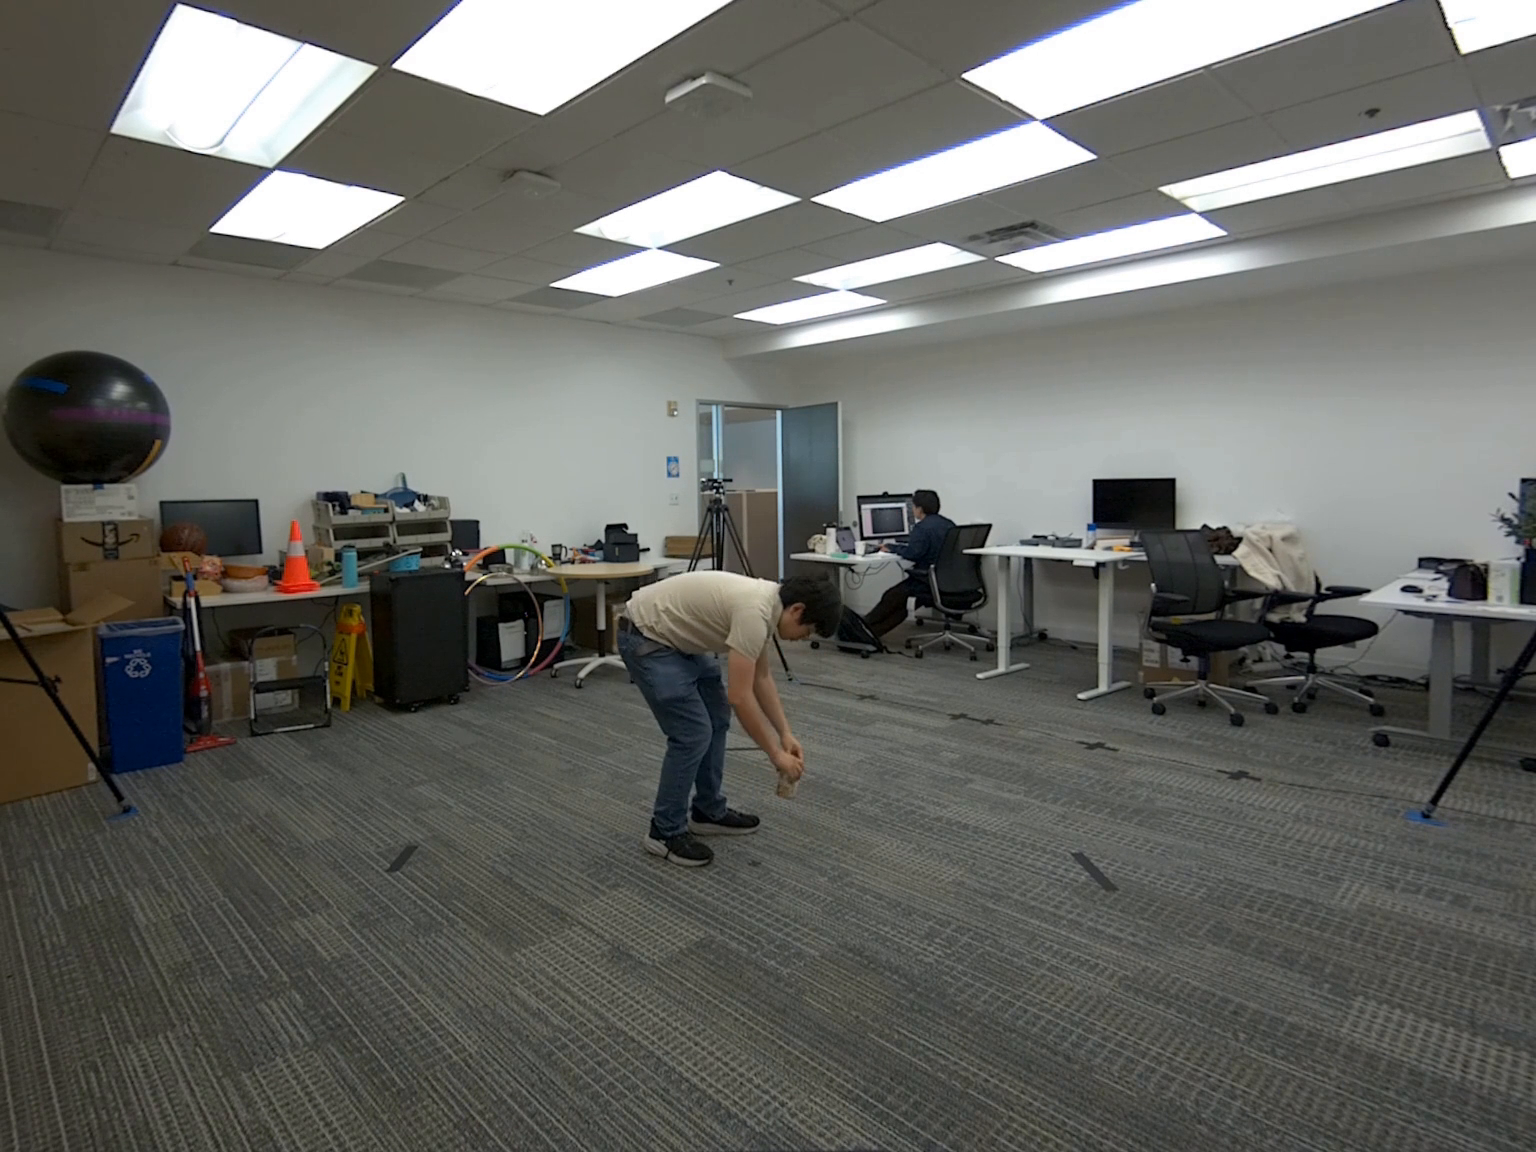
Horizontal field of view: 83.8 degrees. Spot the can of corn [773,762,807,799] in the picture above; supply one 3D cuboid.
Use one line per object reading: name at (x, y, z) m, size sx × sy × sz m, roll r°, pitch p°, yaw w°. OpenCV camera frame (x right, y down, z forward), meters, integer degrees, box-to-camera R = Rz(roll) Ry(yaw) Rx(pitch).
can of corn at (0.077, 0.728, 3.120) m, size 0.074 × 0.110 × 0.075 m, roll 23°, pitch 10°, yaw -6°
